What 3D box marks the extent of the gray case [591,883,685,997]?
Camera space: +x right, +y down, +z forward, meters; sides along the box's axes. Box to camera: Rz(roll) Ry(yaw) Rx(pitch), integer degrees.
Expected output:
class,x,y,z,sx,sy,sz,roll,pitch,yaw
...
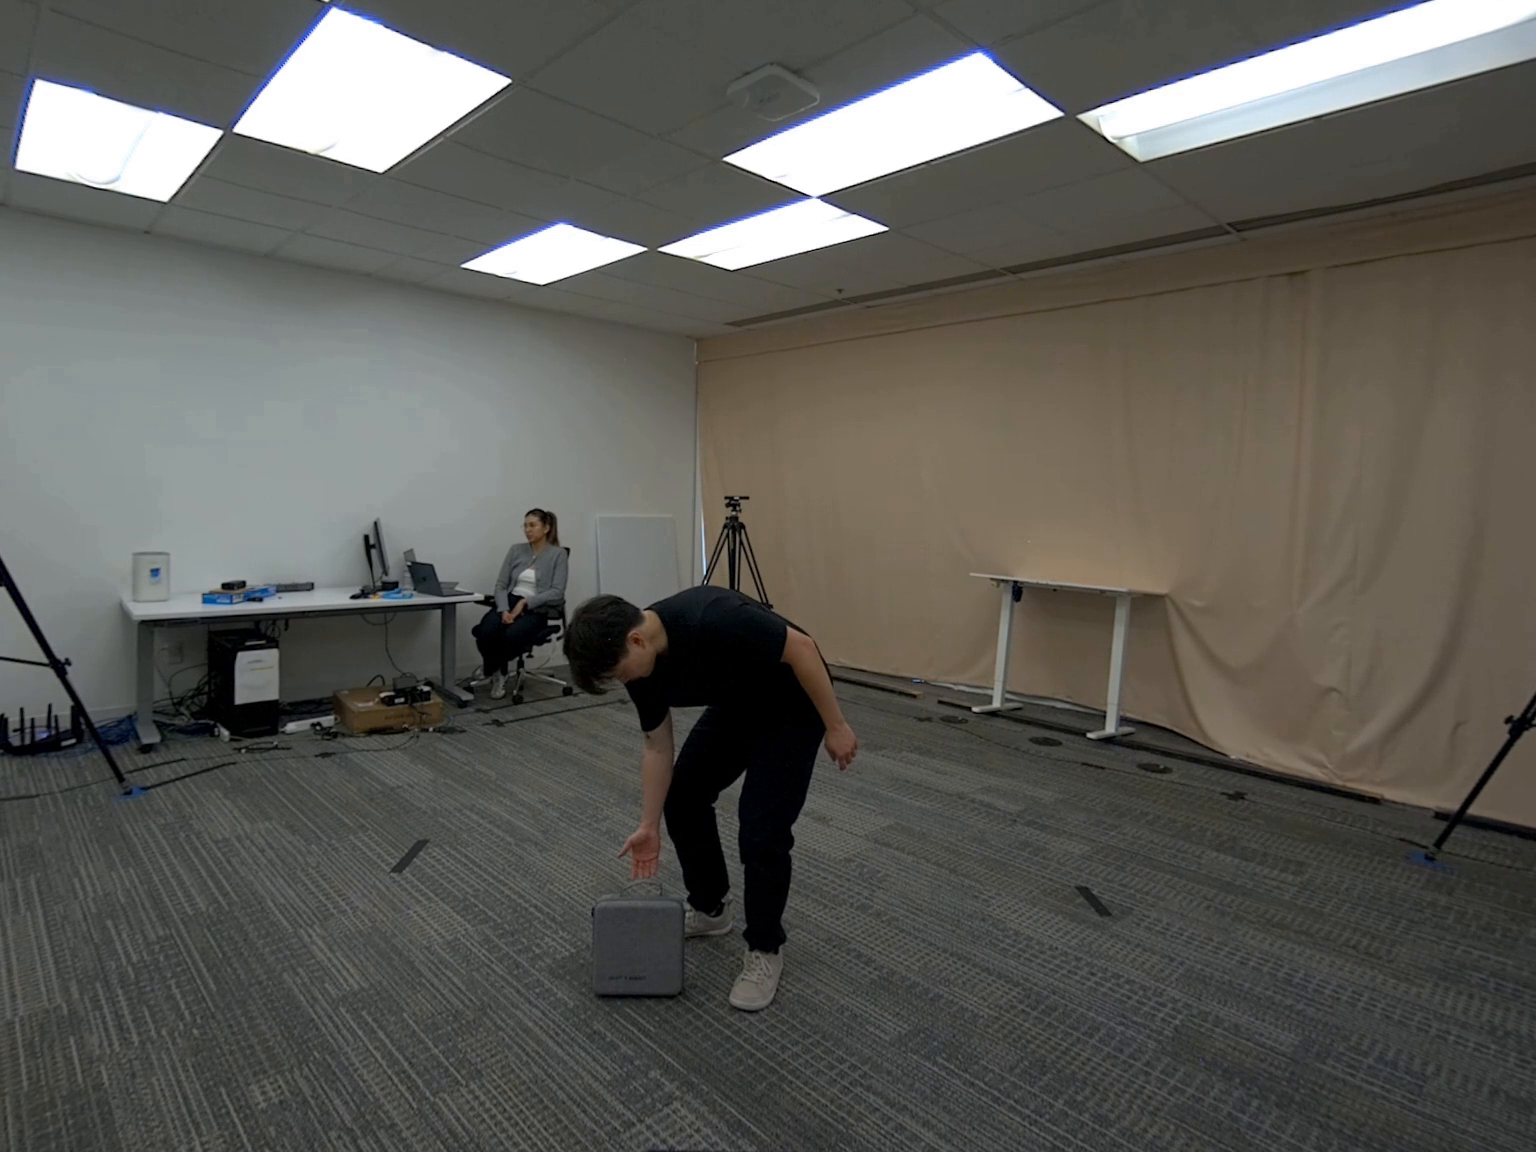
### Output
class,x,y,z,sx,sy,sz,roll,pitch,yaw
gray case,-0.370,1.032,2.376,0.257,0.261,0.104,0,-5,1
